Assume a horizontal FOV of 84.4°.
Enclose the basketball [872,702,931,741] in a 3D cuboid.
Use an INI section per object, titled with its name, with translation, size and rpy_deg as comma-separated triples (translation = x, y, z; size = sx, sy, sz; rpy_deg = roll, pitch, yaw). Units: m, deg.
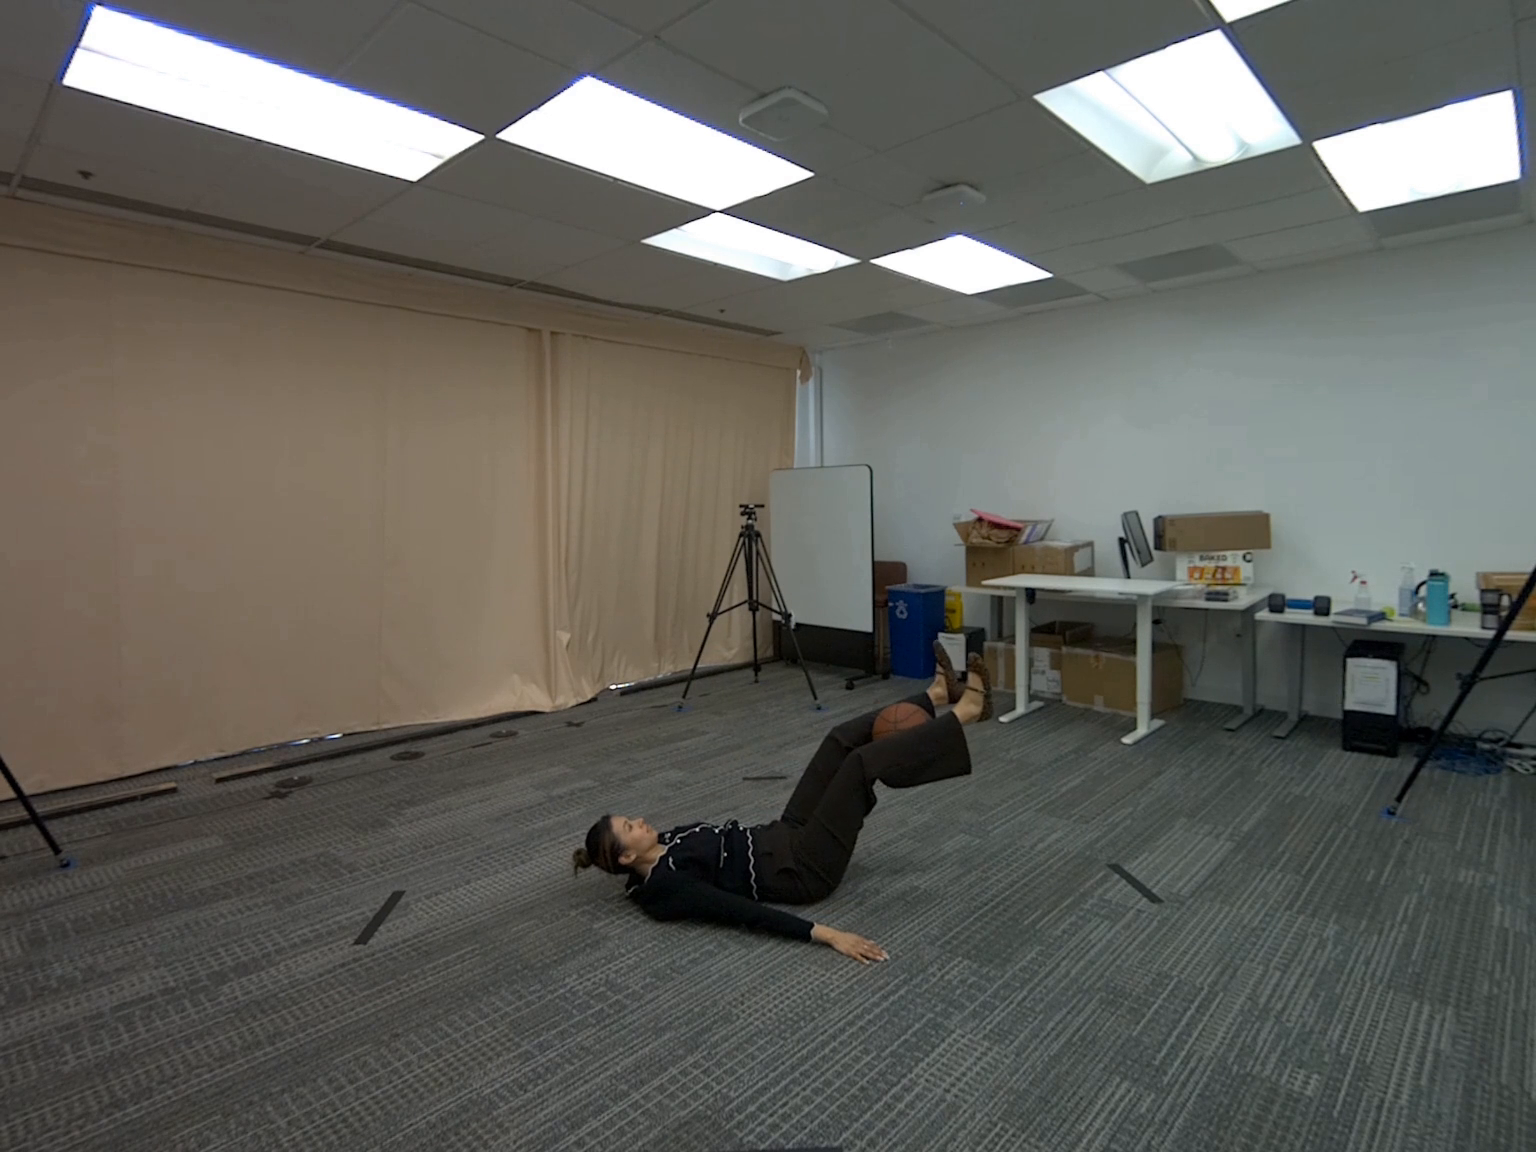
[basketball]
translation = 0.500, 0.591, 3.107
size = 0.236, 0.235, 0.237
rpy_deg = -1, 4, -2
